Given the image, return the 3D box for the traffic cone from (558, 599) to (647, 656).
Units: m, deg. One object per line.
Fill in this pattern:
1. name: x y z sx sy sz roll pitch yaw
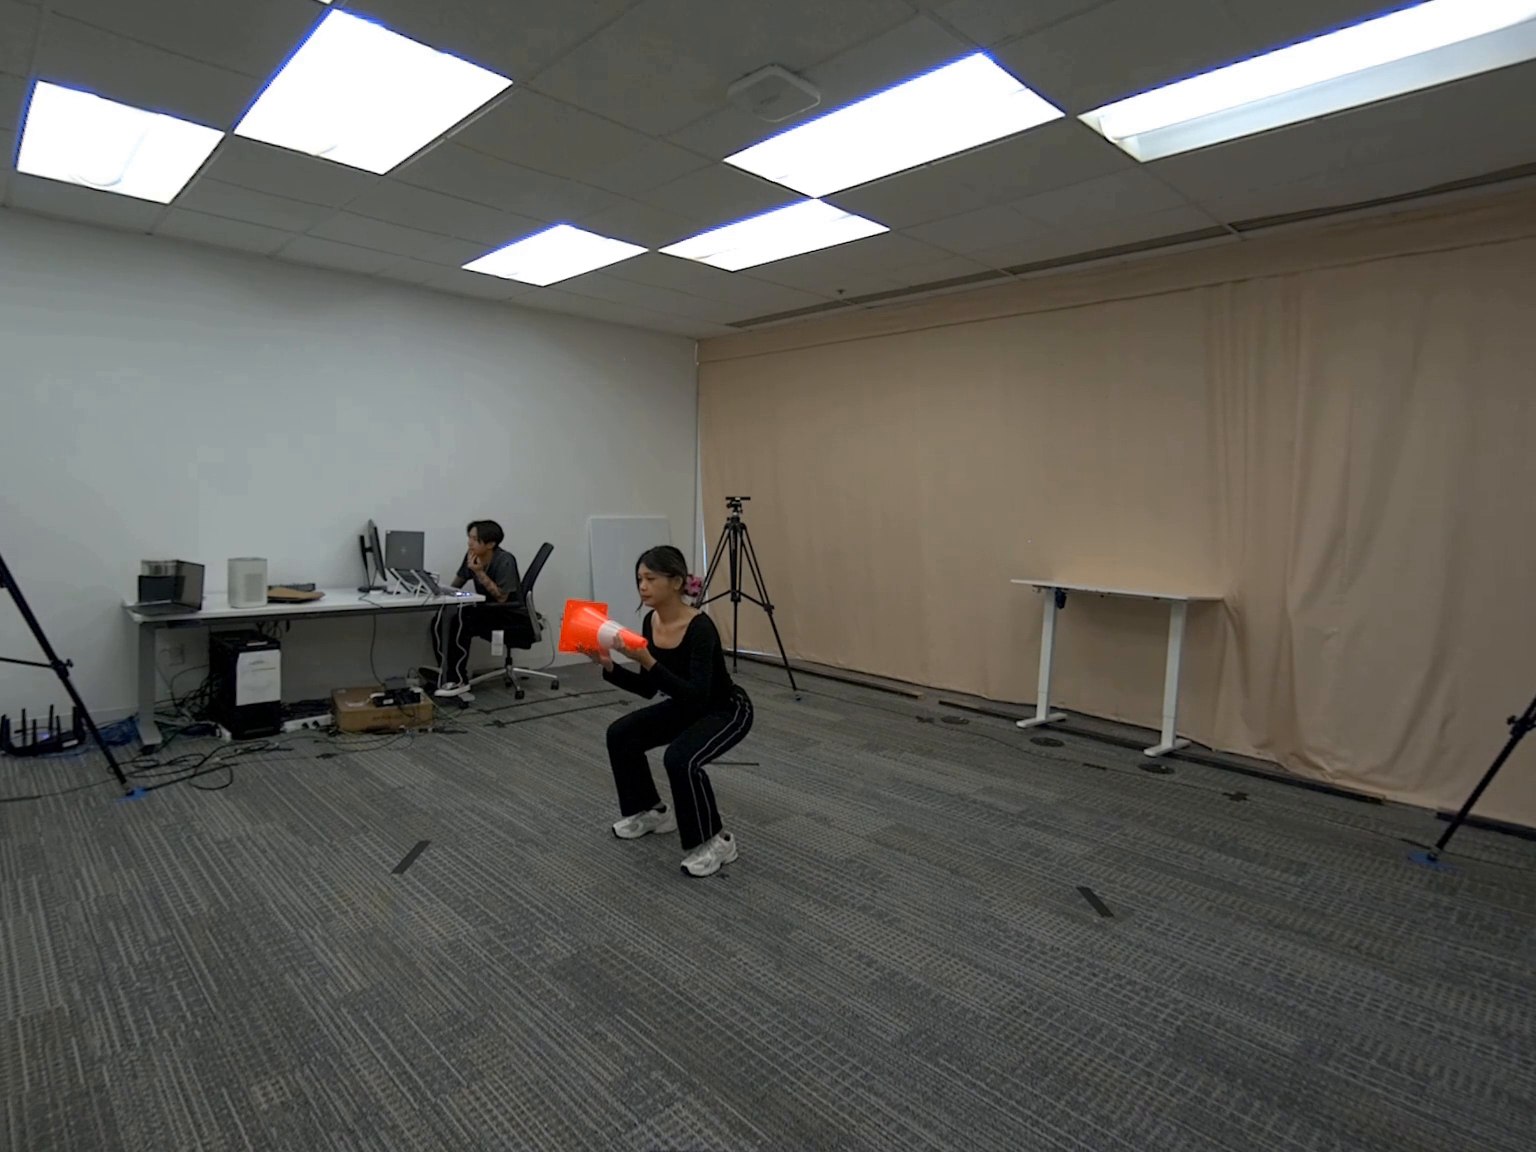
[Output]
1. traffic cone: -0.570 0.209 3.047 0.394 0.205 0.197 8 -4 45
